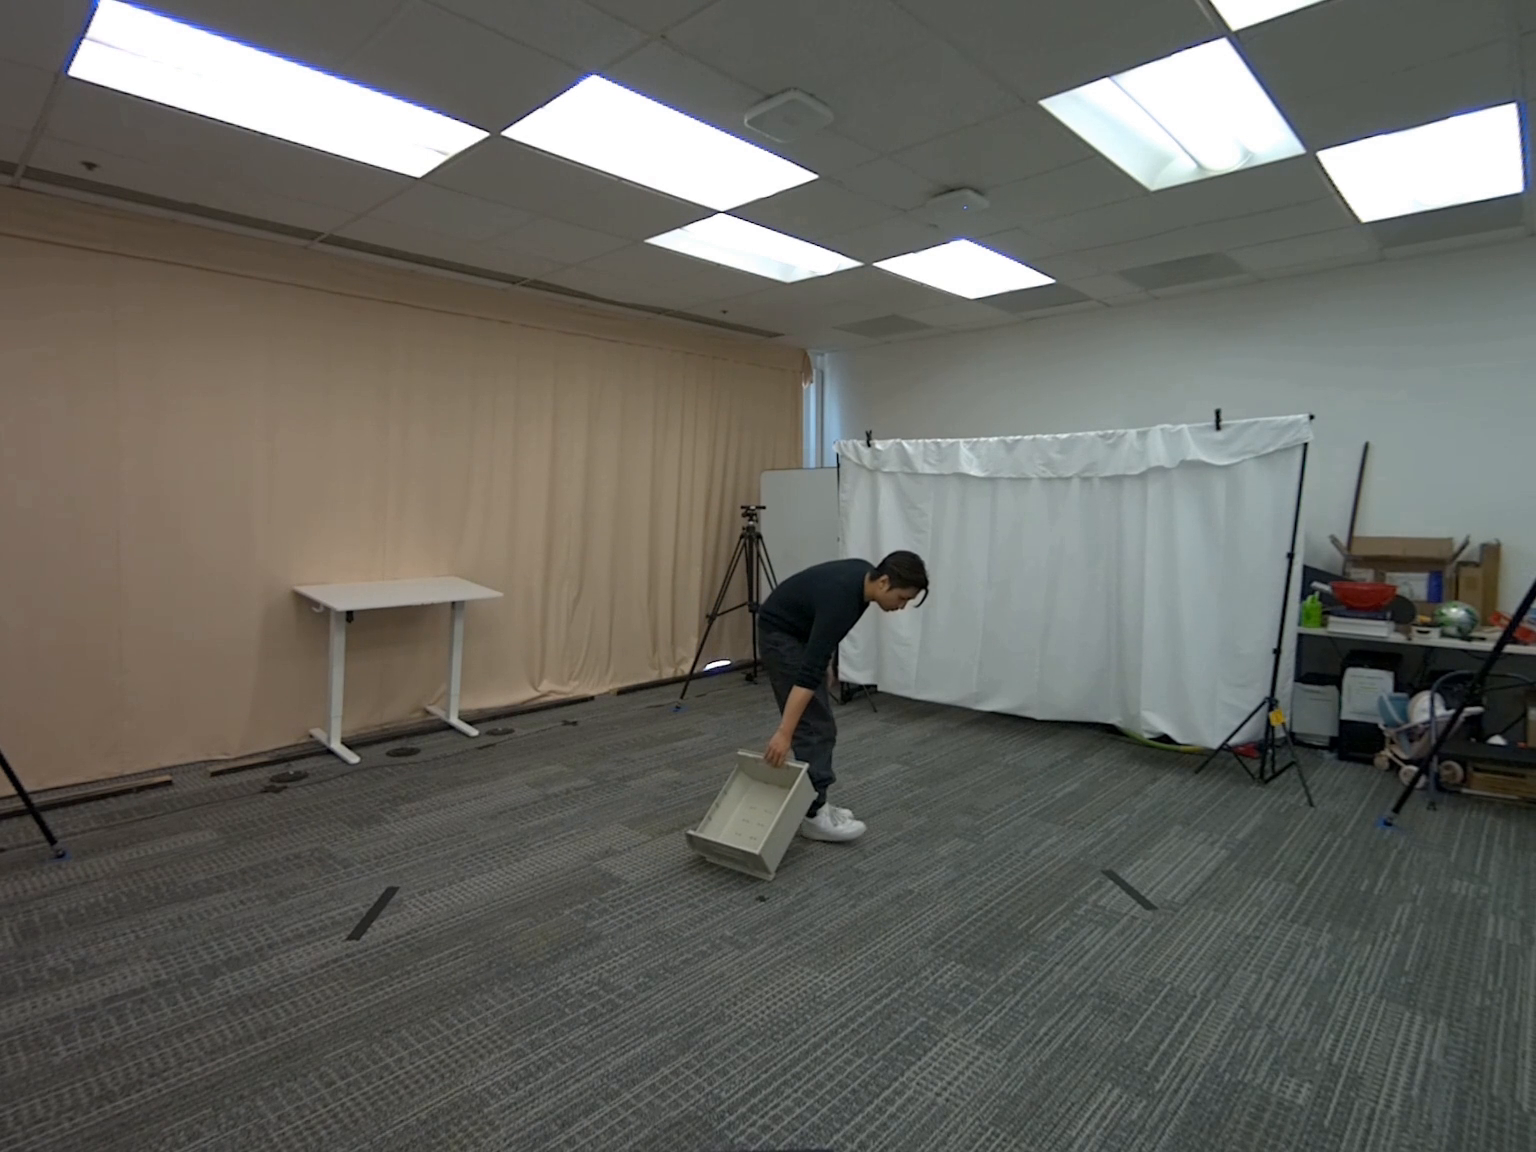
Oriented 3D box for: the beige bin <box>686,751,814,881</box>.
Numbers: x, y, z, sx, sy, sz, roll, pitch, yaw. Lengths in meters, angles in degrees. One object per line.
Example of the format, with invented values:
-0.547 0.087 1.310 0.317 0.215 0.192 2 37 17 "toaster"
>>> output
-0.067 0.924 3.303 0.389 0.184 0.420 4 41 36 "beige bin"
